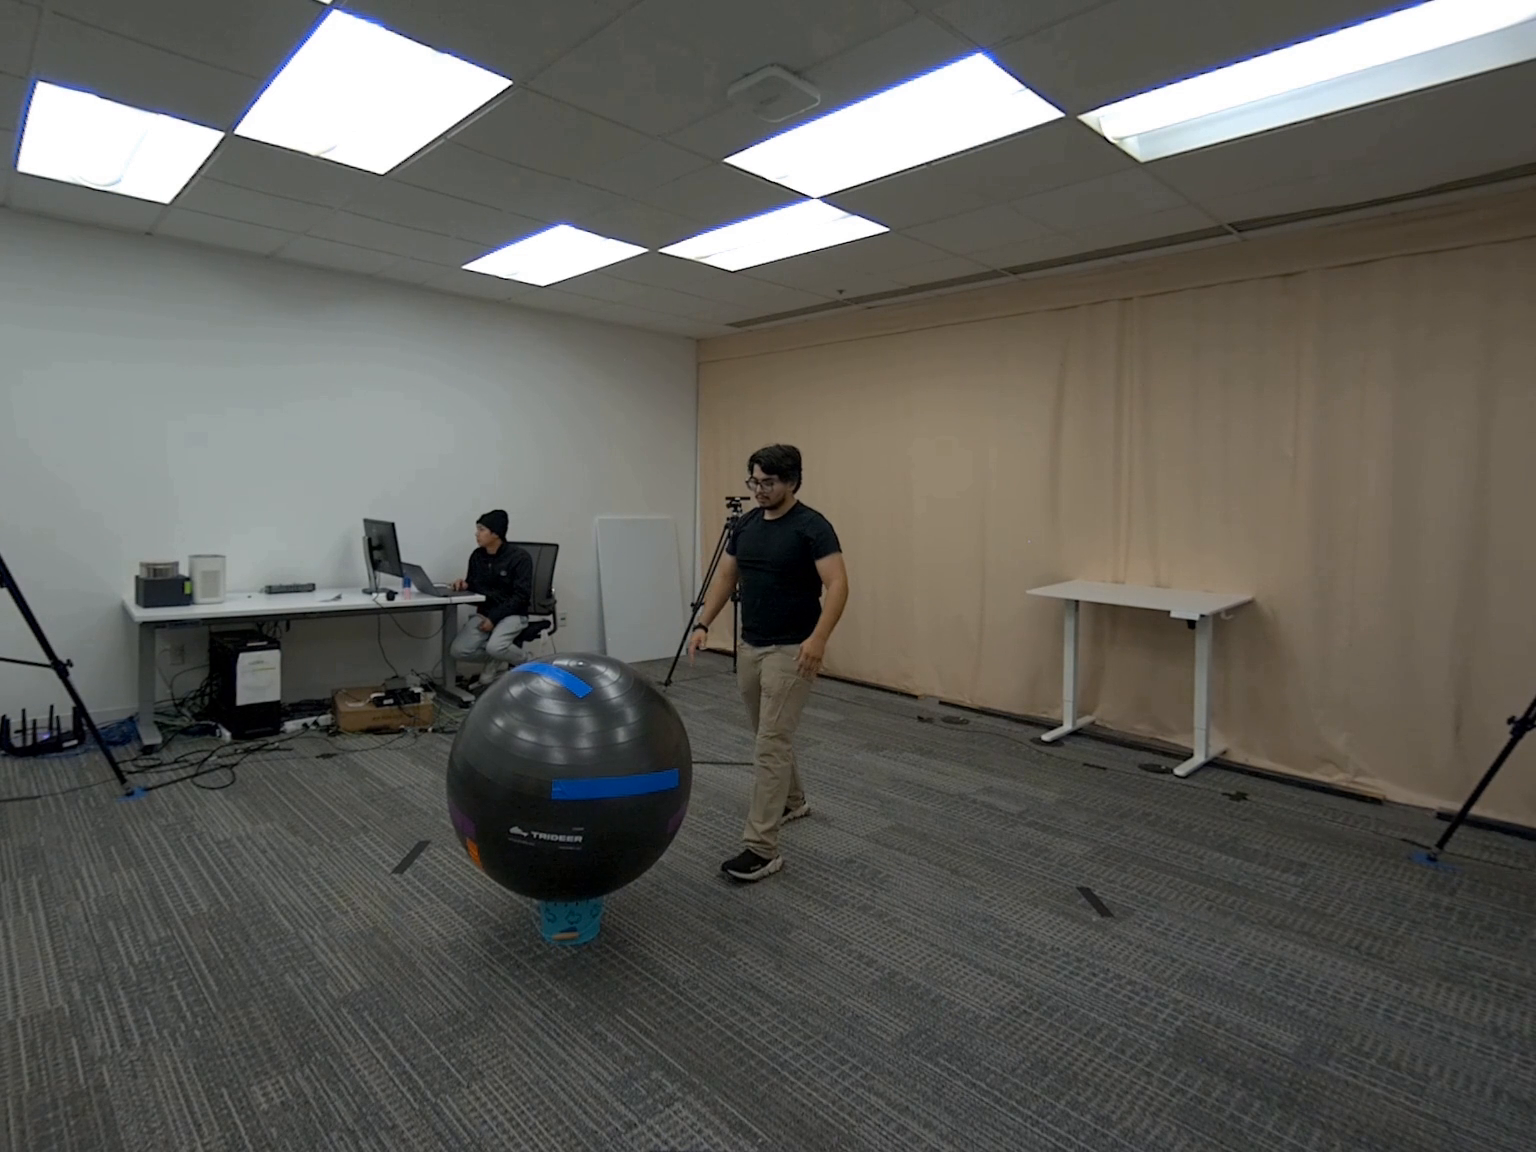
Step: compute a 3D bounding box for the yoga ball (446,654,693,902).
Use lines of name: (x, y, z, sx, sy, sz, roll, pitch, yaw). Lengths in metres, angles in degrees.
yoga ball: (-0.622, 0.631, 2.649, 0.757, 0.756, 0.760, 1, 4, -1)
